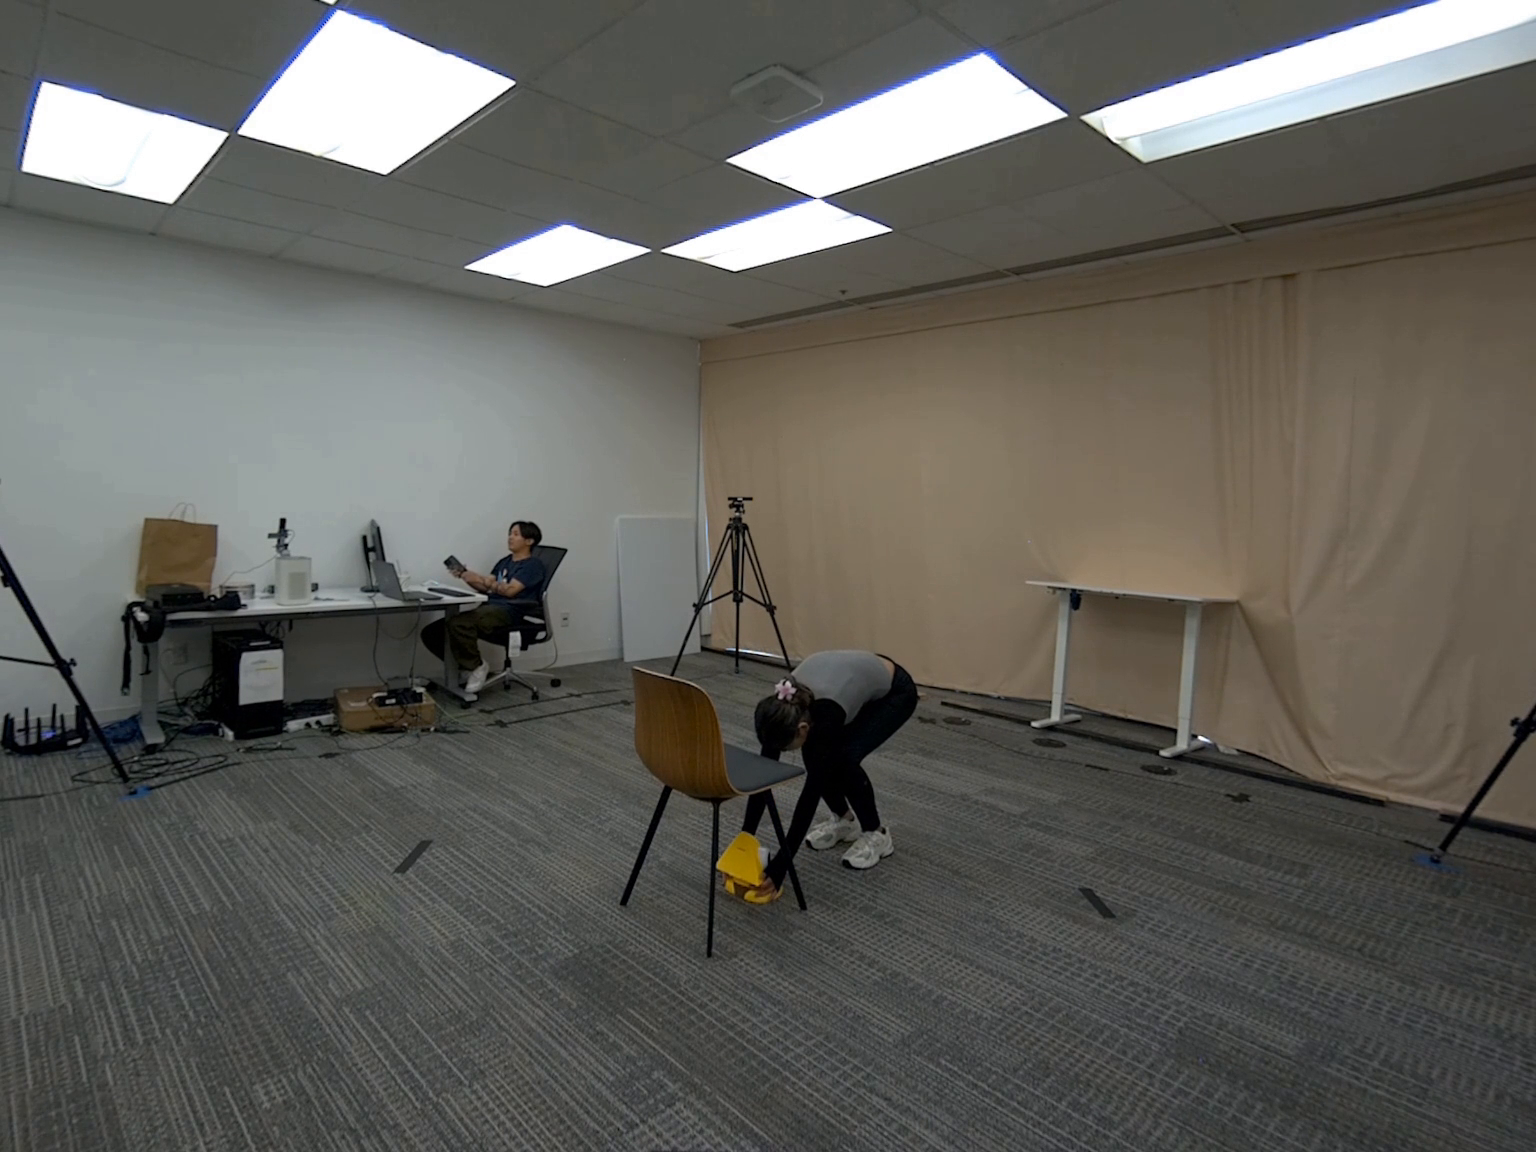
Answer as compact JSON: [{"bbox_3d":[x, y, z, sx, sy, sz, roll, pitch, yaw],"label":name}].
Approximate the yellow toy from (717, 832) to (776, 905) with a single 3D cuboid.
[{"bbox_3d":[-0.059,1.011,2.992,0.210,0.230,0.189,5,5,40],"label":"yellow toy"}]
